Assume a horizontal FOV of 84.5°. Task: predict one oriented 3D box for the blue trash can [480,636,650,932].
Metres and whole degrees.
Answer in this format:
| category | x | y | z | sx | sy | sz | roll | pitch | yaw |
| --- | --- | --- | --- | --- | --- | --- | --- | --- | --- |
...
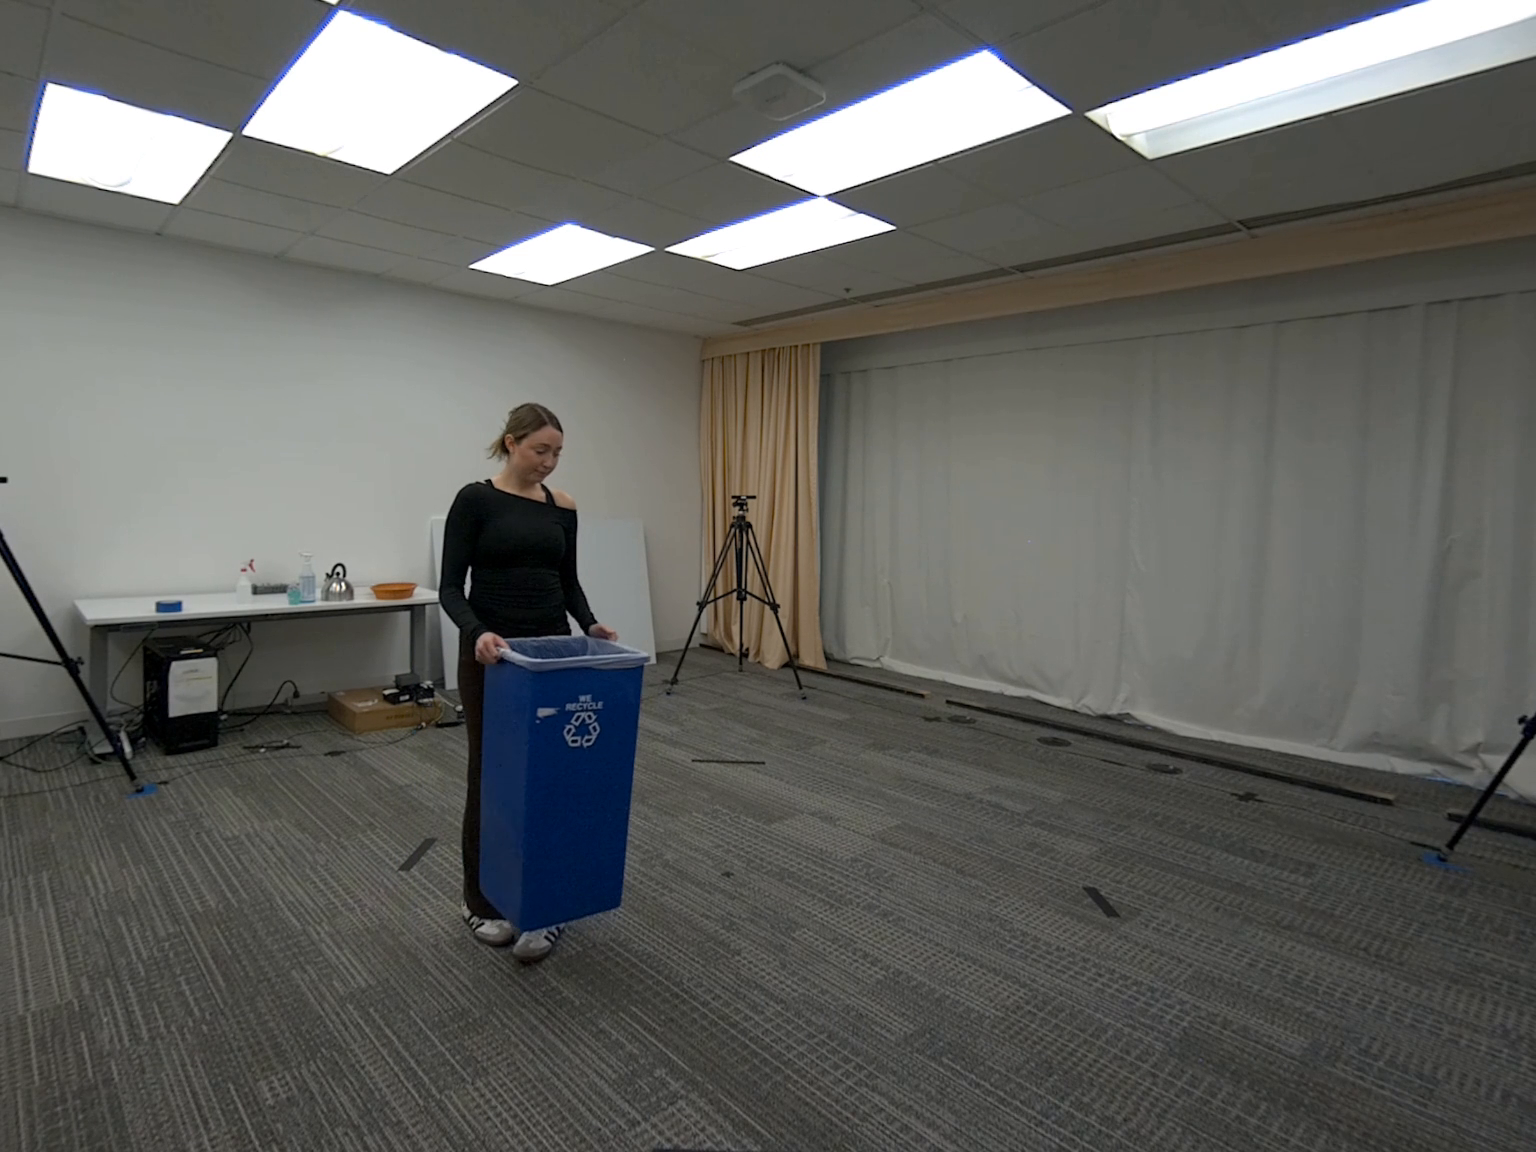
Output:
| category | x | y | z | sx | sy | sz | roll | pitch | yaw |
| --- | --- | --- | --- | --- | --- | --- | --- | --- | --- |
| blue trash can | -0.596 | 0.557 | 2.360 | 0.365 | 0.712 | 0.388 | 2 | 3 | -38 |
